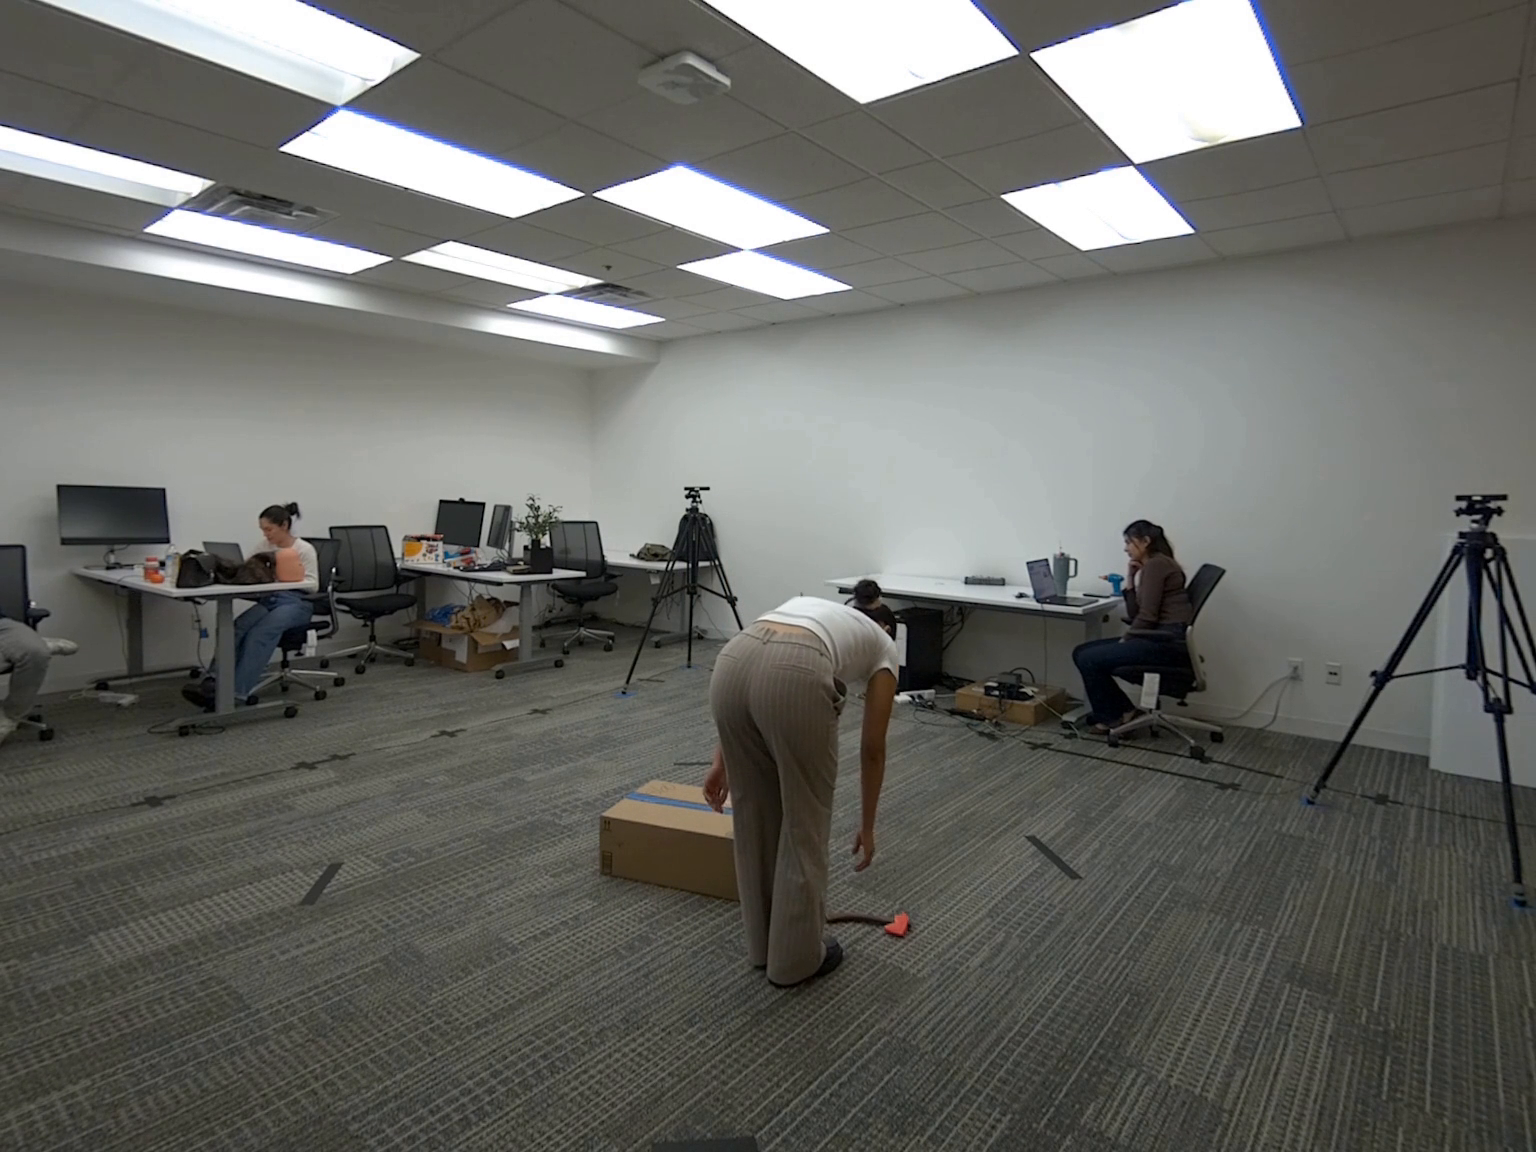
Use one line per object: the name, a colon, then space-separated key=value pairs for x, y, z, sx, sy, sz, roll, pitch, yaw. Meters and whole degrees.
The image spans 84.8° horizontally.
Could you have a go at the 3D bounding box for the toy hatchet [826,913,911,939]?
toy hatchet: x=0.319 y=1.106 z=2.702 sx=0.269 sy=0.029 sz=0.132 roll=-2 pitch=9 yaw=-3
